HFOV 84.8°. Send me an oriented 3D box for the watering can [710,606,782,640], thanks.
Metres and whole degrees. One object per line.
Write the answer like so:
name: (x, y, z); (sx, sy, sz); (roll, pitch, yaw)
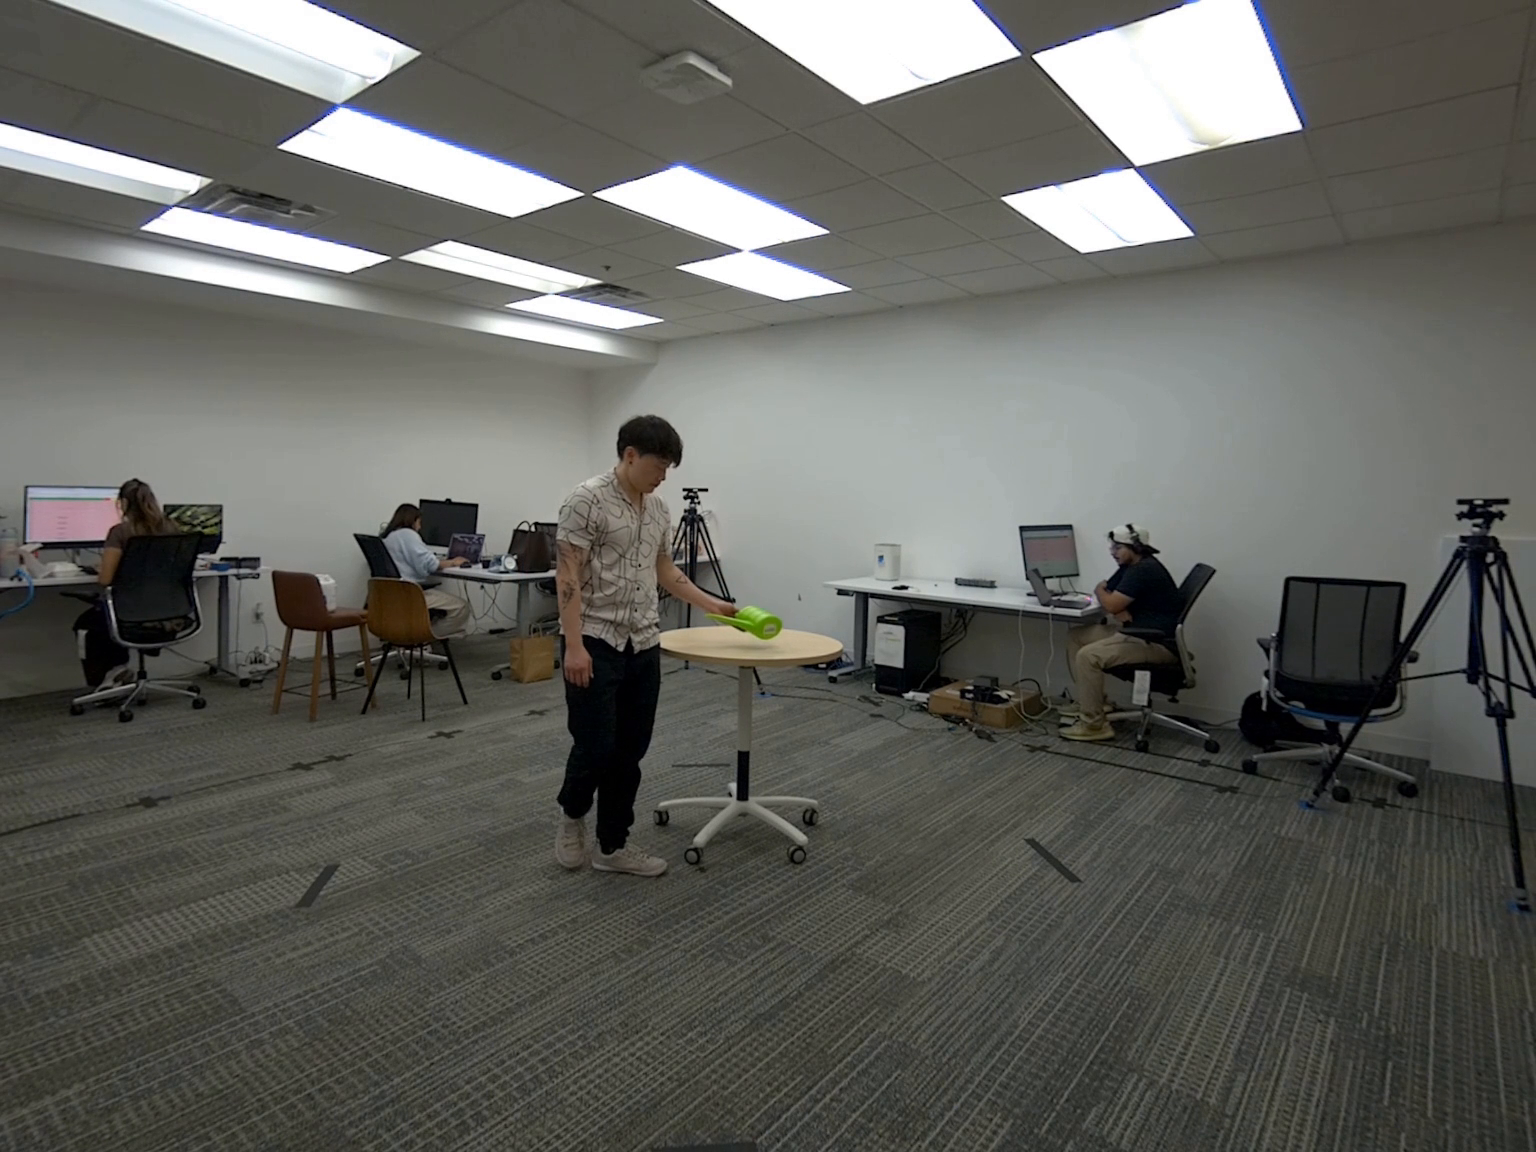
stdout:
watering can: (-0.089, 0.185, 3.260); (0.273, 0.096, 0.184); (-19, 26, -33)
